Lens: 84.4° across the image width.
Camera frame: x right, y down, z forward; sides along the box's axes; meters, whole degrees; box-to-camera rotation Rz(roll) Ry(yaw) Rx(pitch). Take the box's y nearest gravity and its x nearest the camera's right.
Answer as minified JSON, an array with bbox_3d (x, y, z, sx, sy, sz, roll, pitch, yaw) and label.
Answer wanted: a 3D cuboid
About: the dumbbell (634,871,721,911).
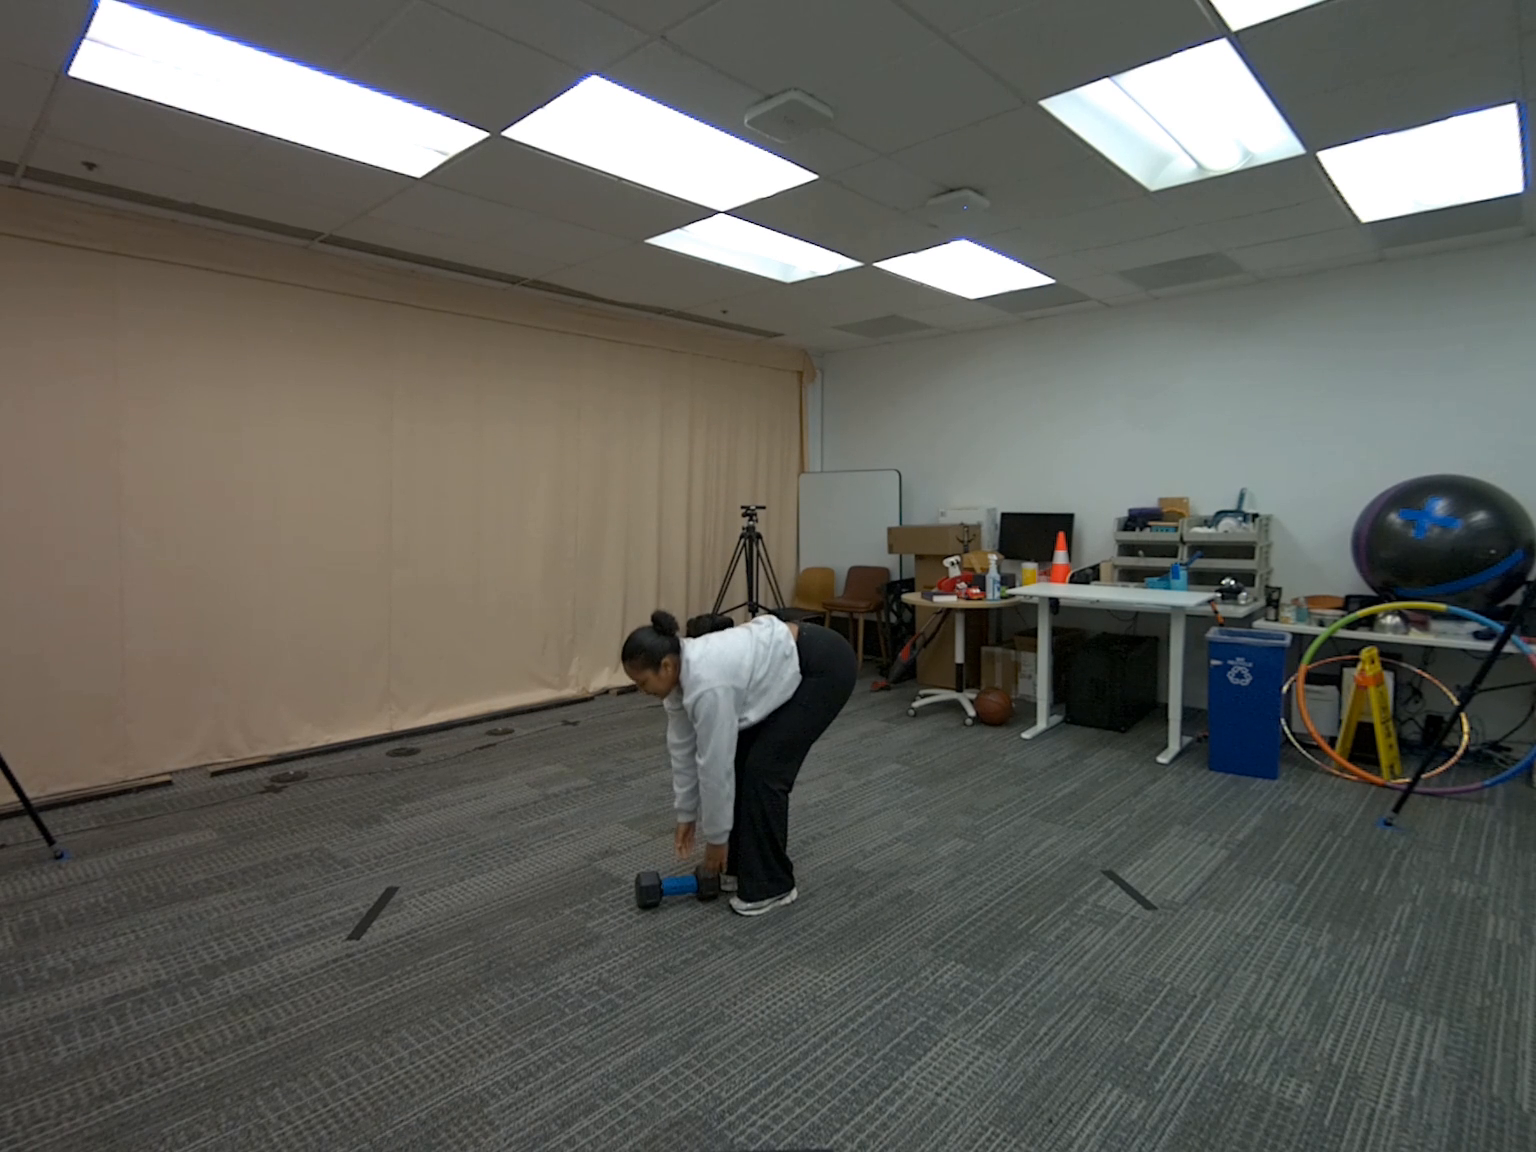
[{"bbox_3d":[-0.318,1.094,2.961,0.289,0.121,0.111,-1,47,-14],"label":"dumbbell"}]
